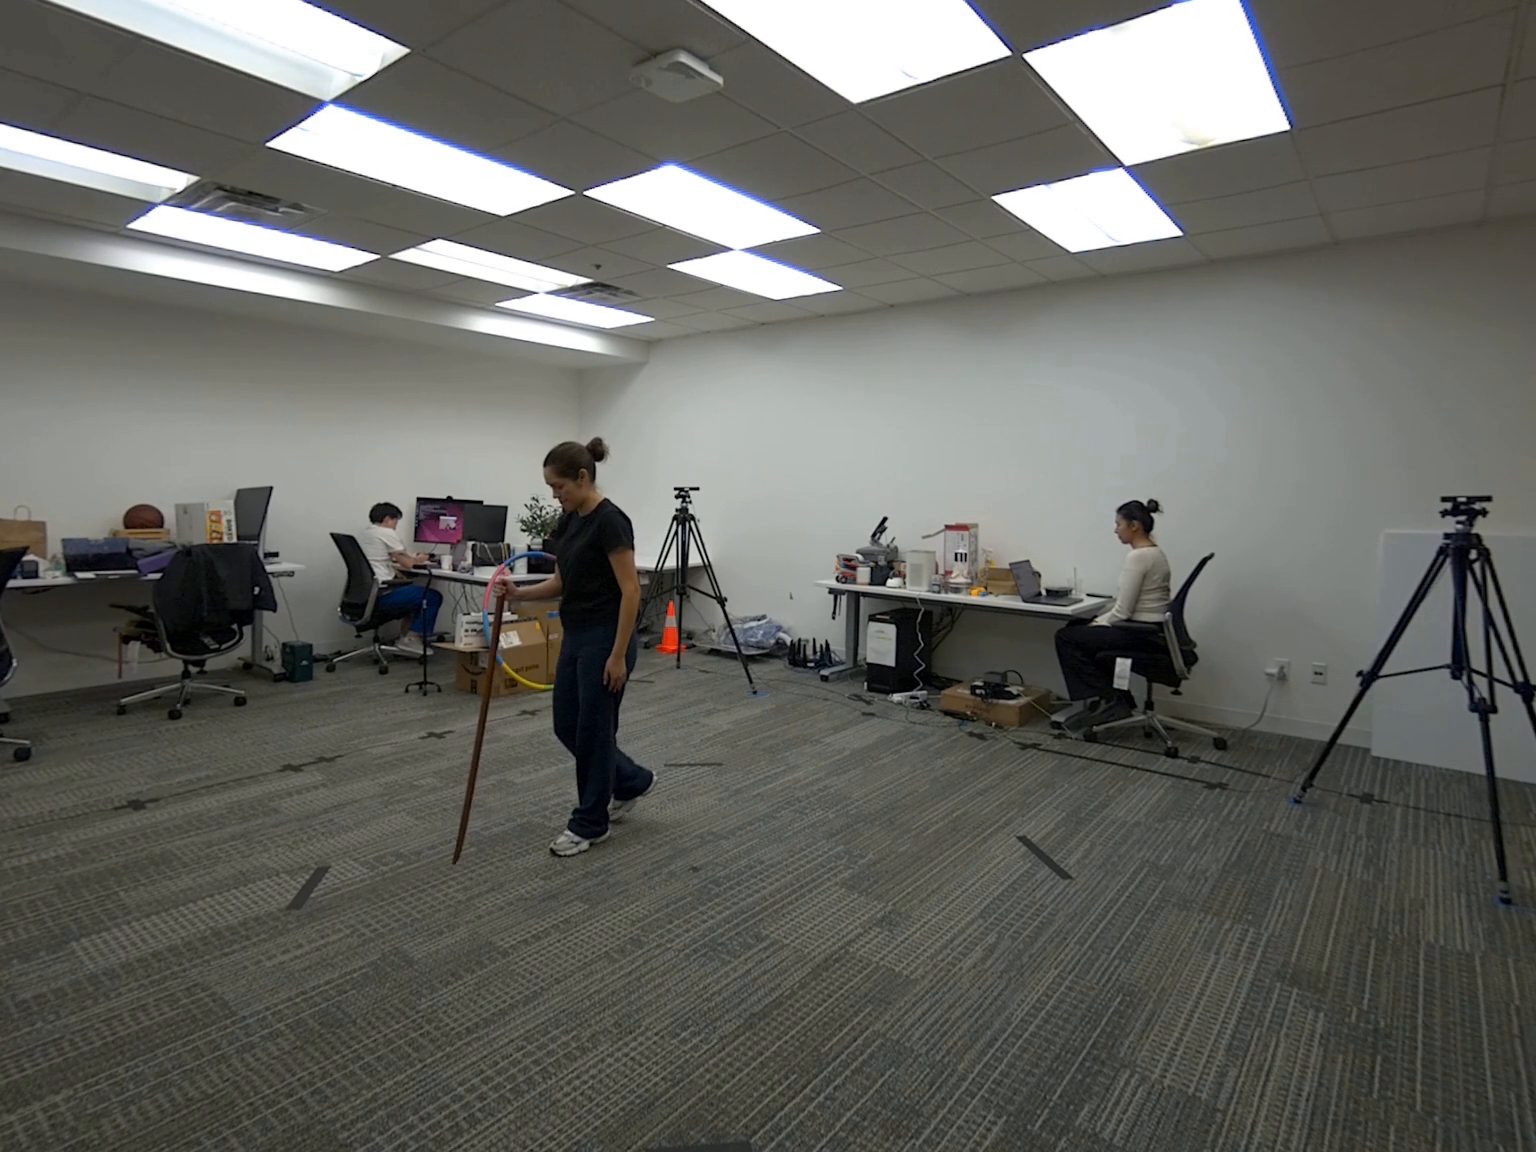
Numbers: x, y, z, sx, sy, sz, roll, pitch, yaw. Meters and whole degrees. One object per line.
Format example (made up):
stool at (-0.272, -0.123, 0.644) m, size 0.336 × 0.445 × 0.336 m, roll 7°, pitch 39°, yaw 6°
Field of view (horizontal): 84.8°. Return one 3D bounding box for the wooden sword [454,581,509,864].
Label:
wooden sword at (-1.040, 0.520, 3.161) m, size 0.050 × 1.033 × 0.024 m, roll 9°, pitch -10°, yaw -20°
